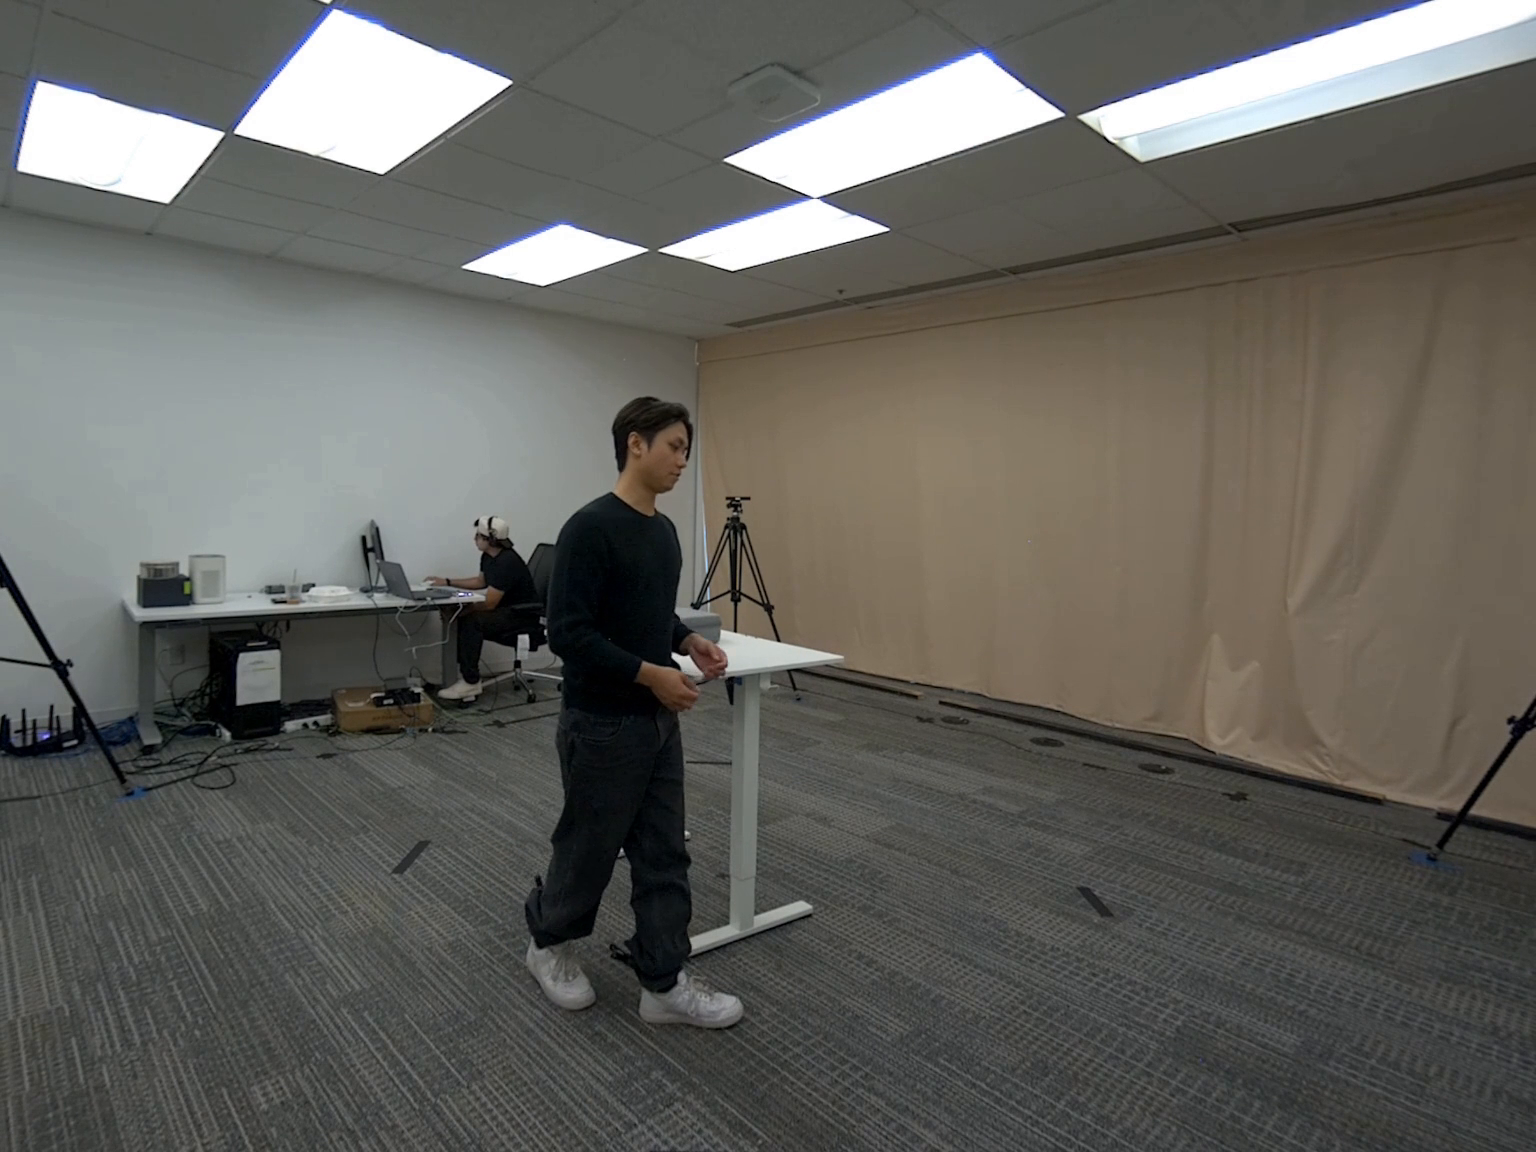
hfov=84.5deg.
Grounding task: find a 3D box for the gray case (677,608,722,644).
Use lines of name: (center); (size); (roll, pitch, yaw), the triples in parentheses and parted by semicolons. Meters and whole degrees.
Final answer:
gray case: (-0.333, 0.180, 2.965); (0.255, 0.104, 0.264); (-3, 7, -41)
